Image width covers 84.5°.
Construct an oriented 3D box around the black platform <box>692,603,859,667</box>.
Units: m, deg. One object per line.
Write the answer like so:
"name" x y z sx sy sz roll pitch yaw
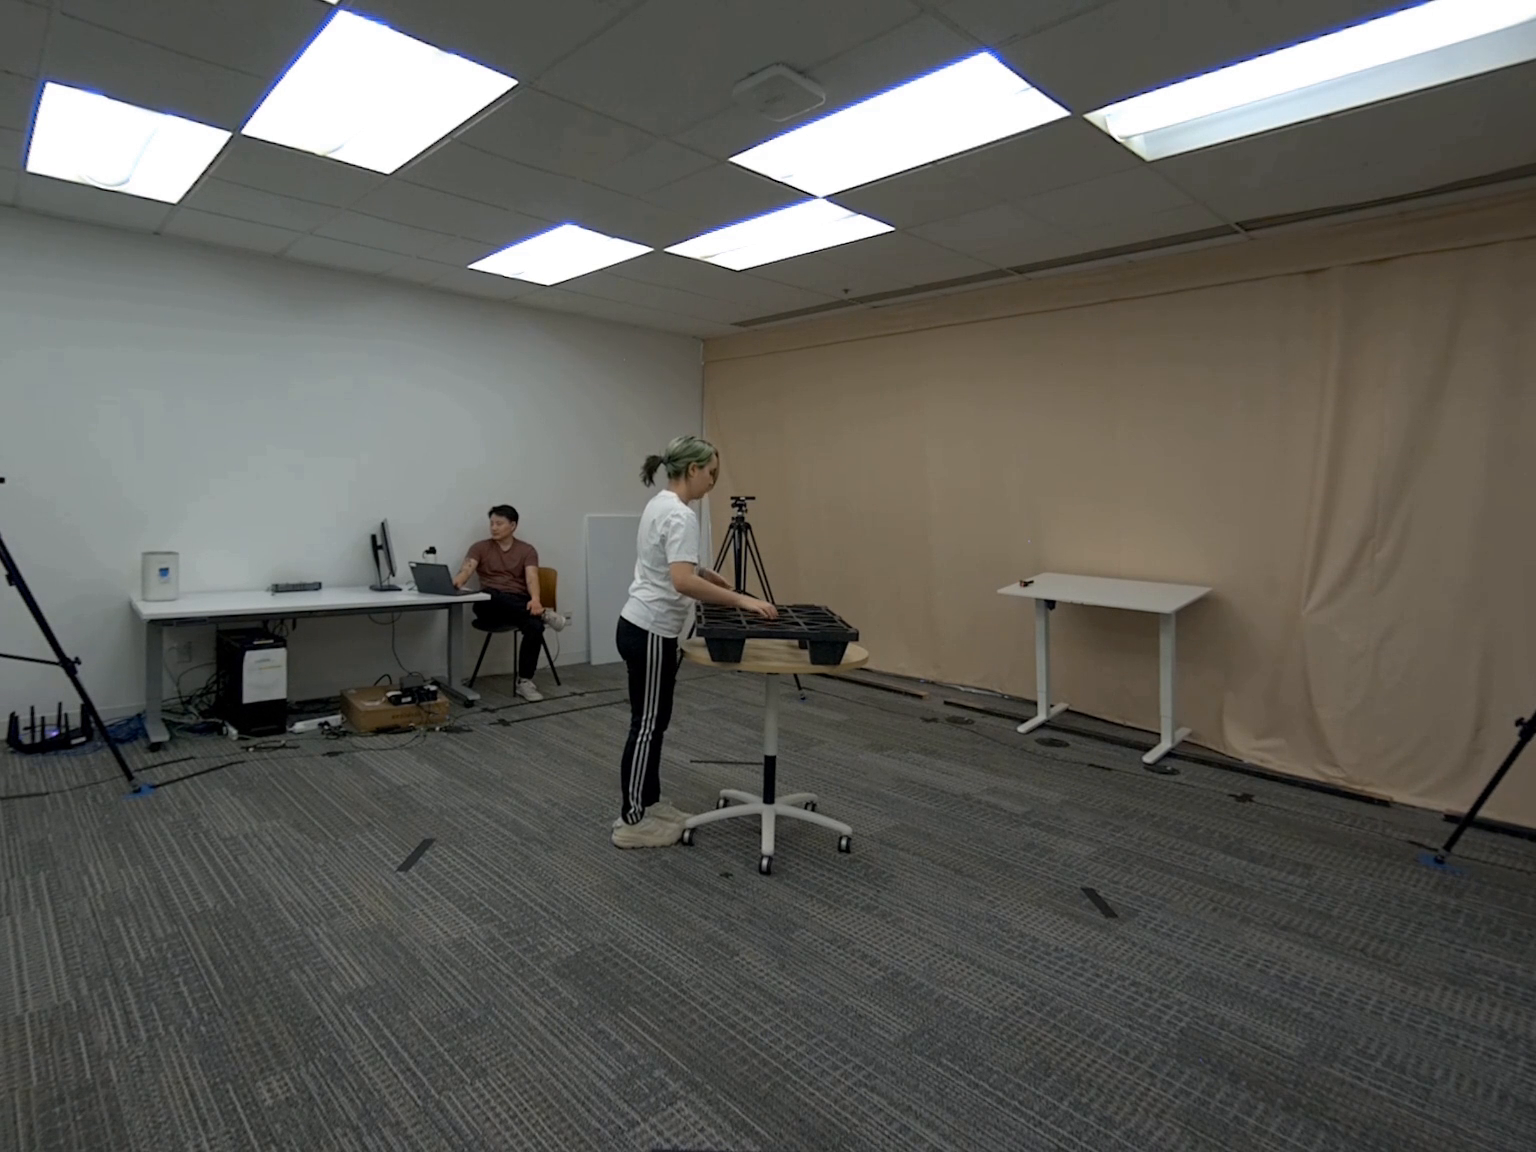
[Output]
"black platform" -0.011 0.227 3.442 0.603 0.143 0.810 2 5 -4
